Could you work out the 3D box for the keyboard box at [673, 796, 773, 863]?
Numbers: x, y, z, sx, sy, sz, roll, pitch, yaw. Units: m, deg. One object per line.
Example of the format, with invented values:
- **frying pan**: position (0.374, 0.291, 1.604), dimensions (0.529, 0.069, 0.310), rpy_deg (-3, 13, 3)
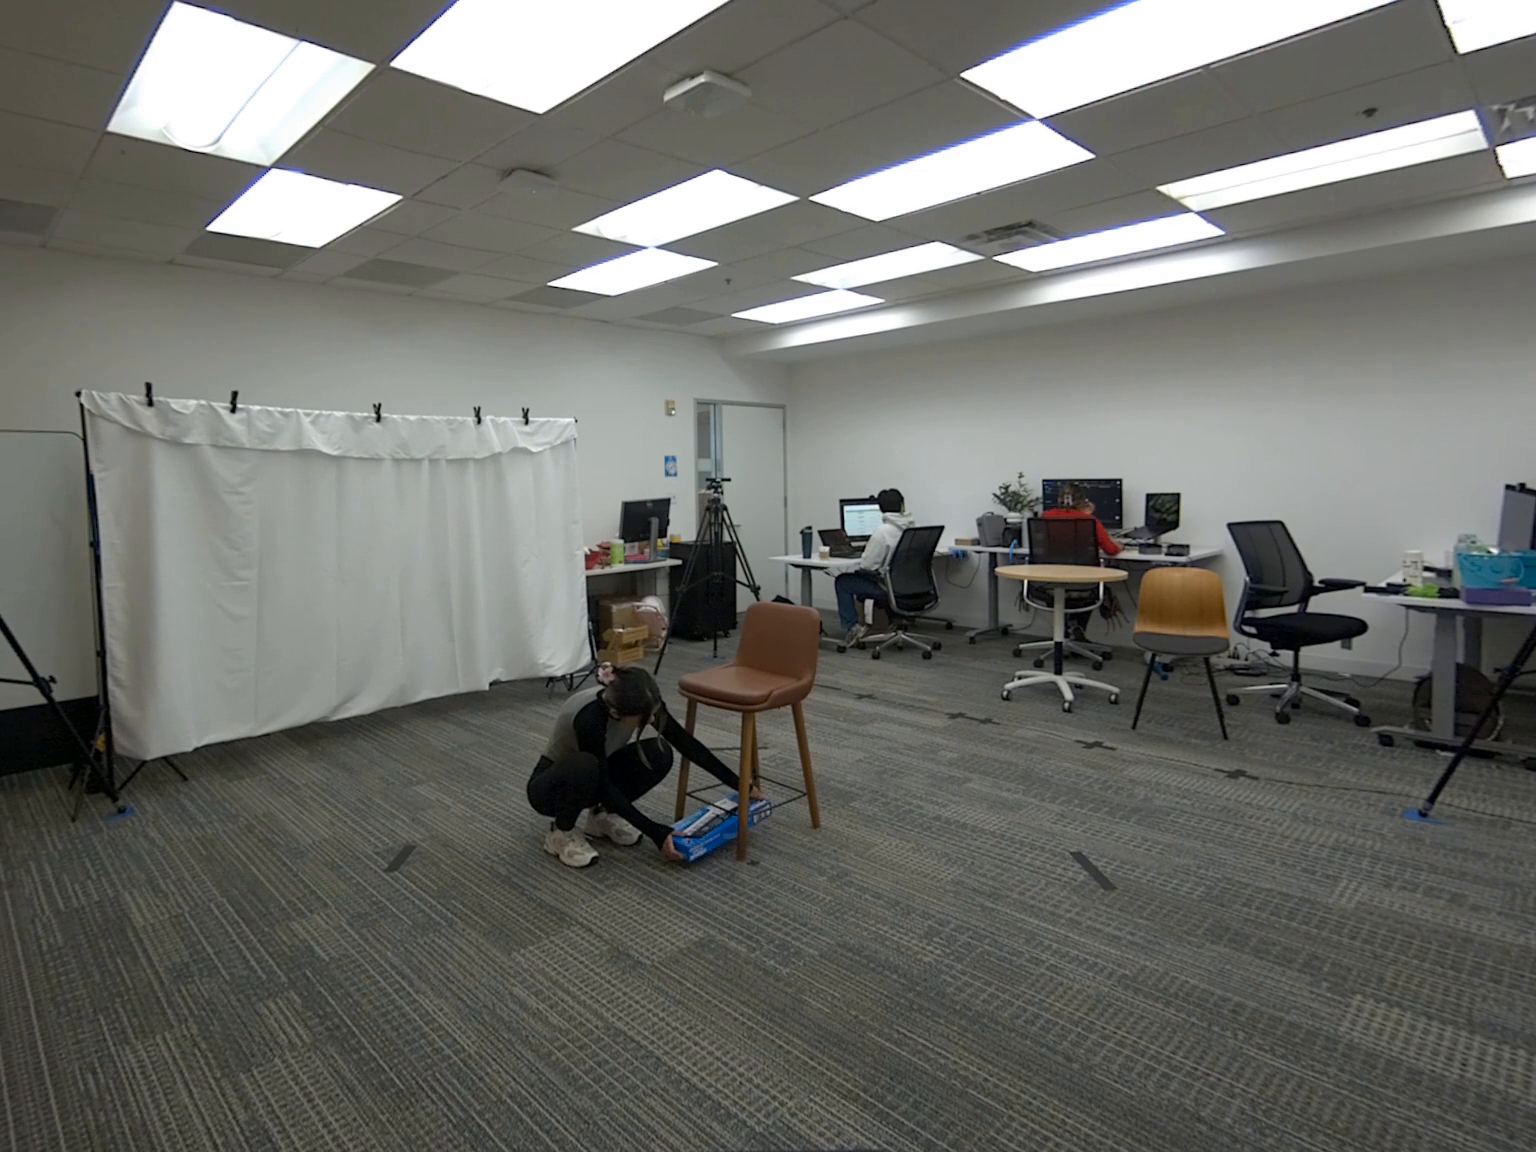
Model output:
- **keyboard box**: position (-0.201, 0.933, 3.241), dimensions (0.181, 0.058, 0.427), rpy_deg (6, 15, 43)
